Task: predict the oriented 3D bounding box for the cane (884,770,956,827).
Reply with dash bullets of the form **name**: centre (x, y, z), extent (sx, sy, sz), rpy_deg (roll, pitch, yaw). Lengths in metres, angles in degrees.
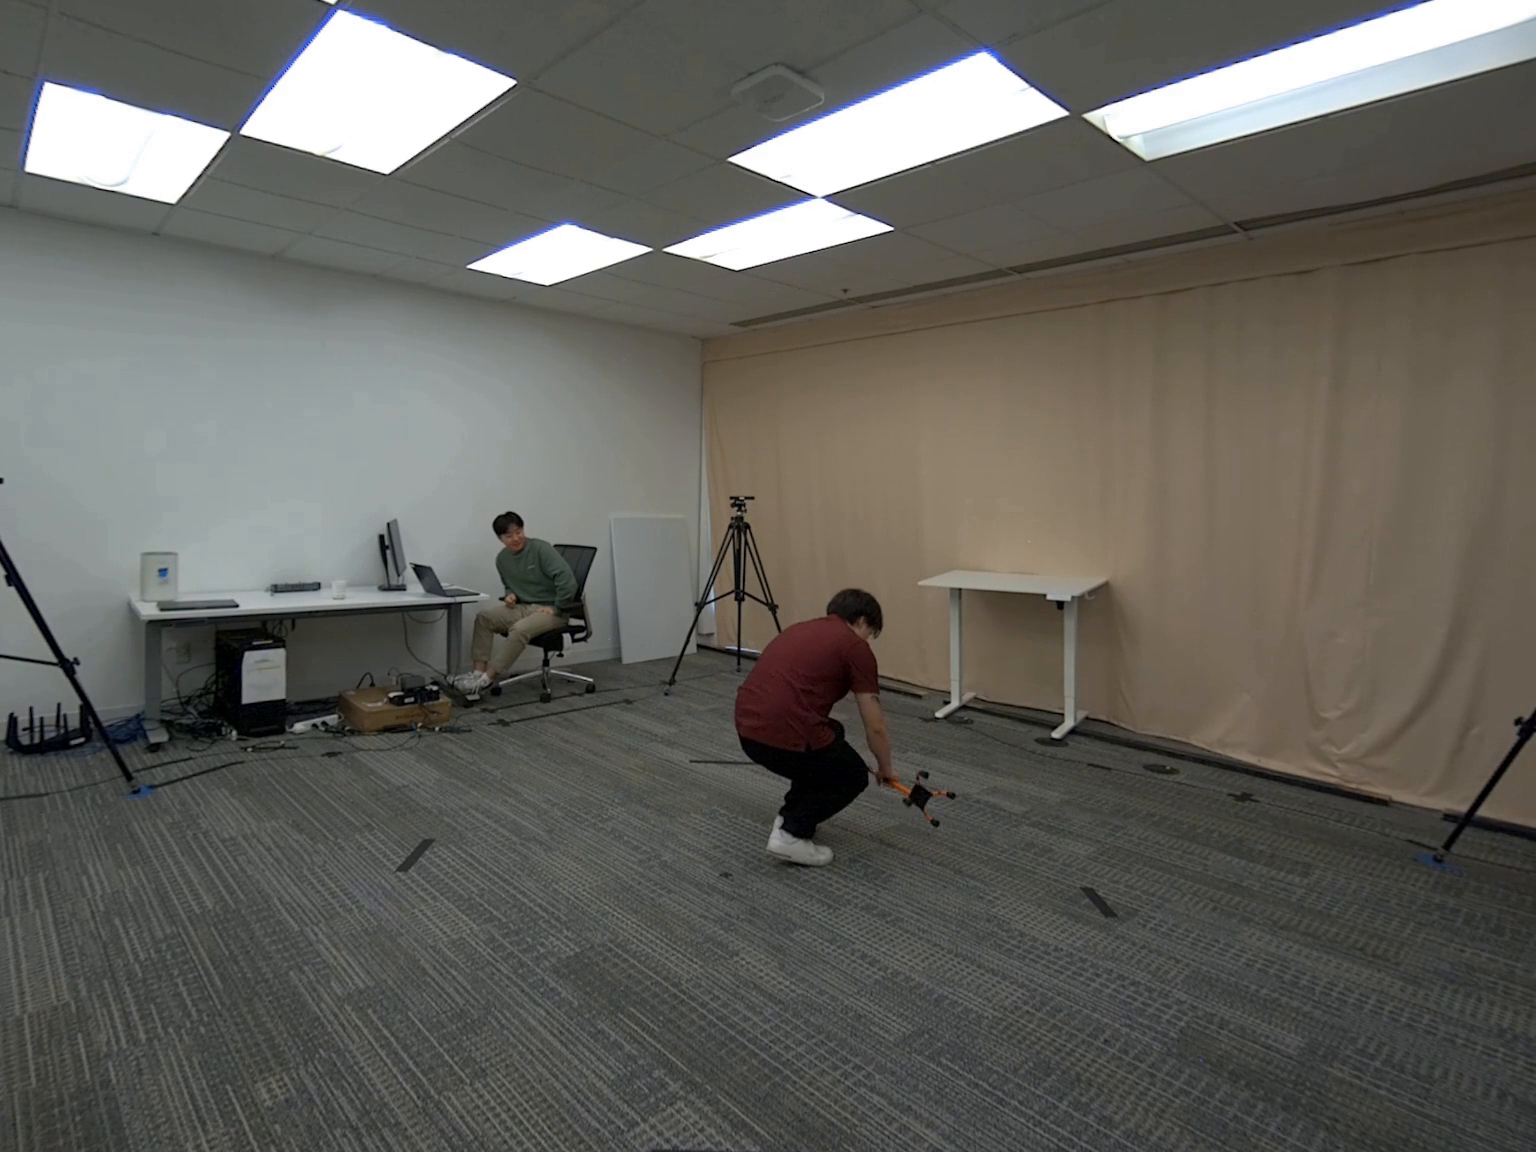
- **cane**: centre (0.389, 0.792, 3.613), extent (0.201, 0.152, 0.929), rpy_deg (38, -12, -27)
